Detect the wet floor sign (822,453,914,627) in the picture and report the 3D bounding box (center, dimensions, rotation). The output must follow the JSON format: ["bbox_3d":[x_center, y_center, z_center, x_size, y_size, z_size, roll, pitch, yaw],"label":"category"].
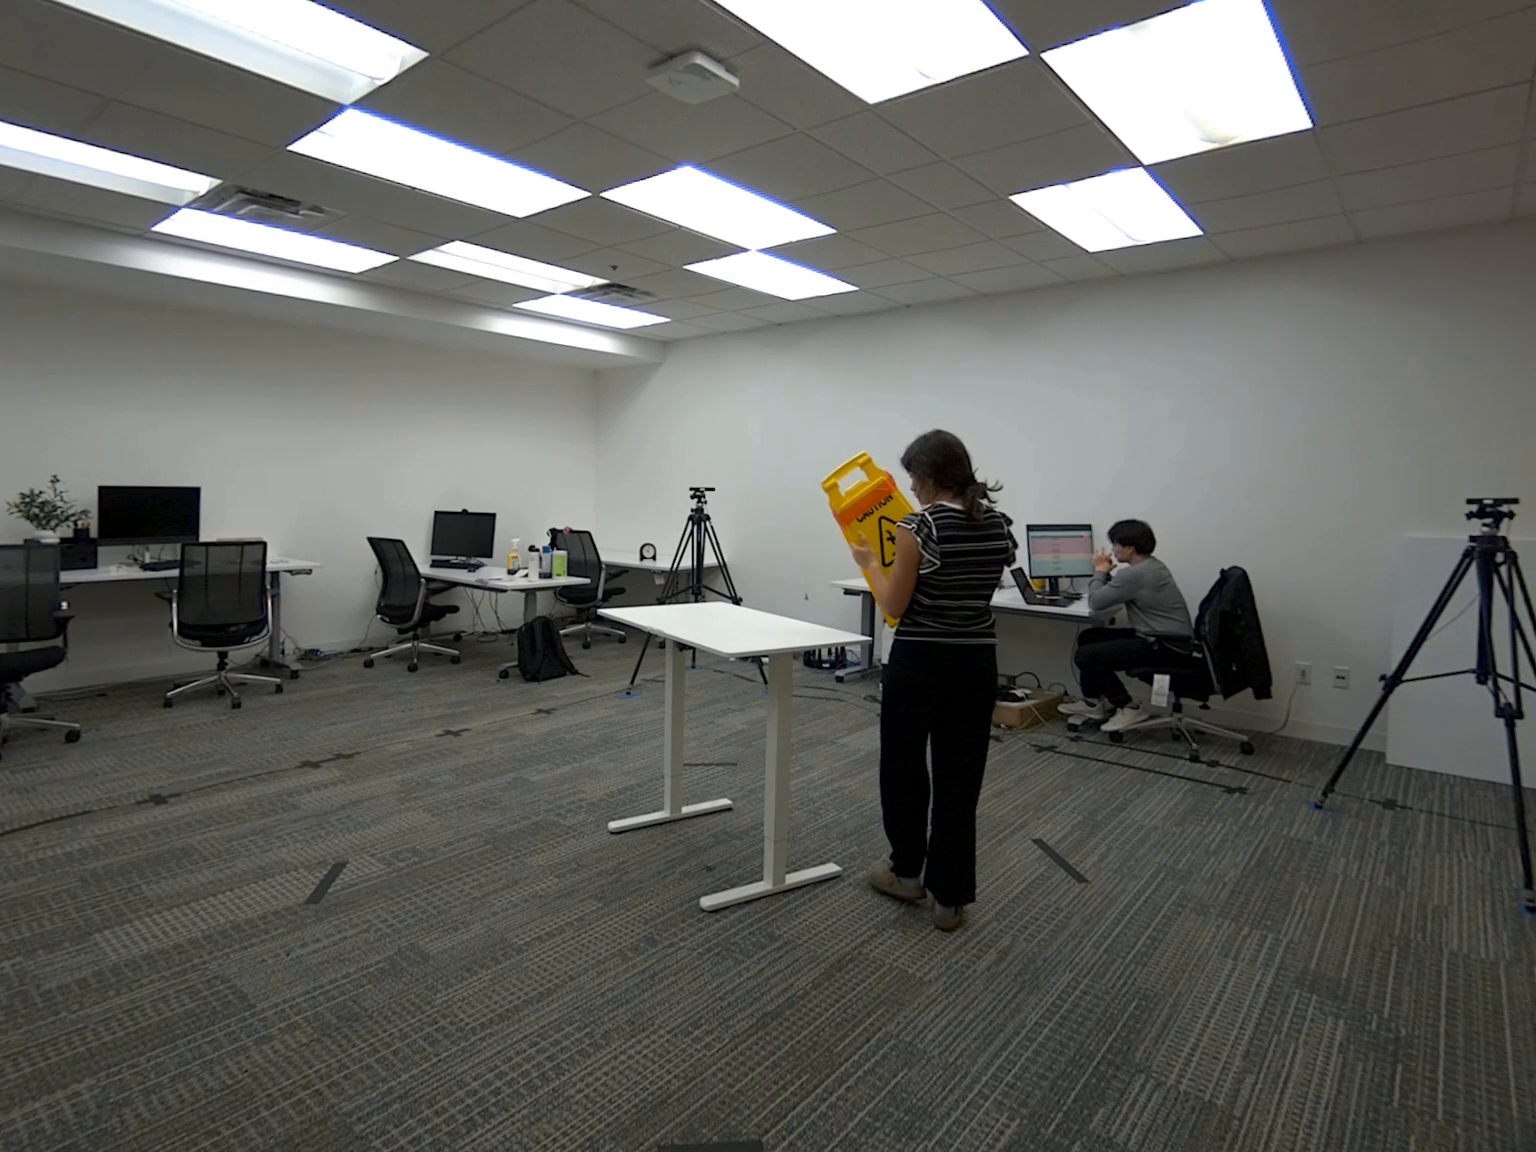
[{"bbox_3d":[0.416,-0.126,3.012,0.282,0.636,0.295,-35,12,-5],"label":"wet floor sign"}]
